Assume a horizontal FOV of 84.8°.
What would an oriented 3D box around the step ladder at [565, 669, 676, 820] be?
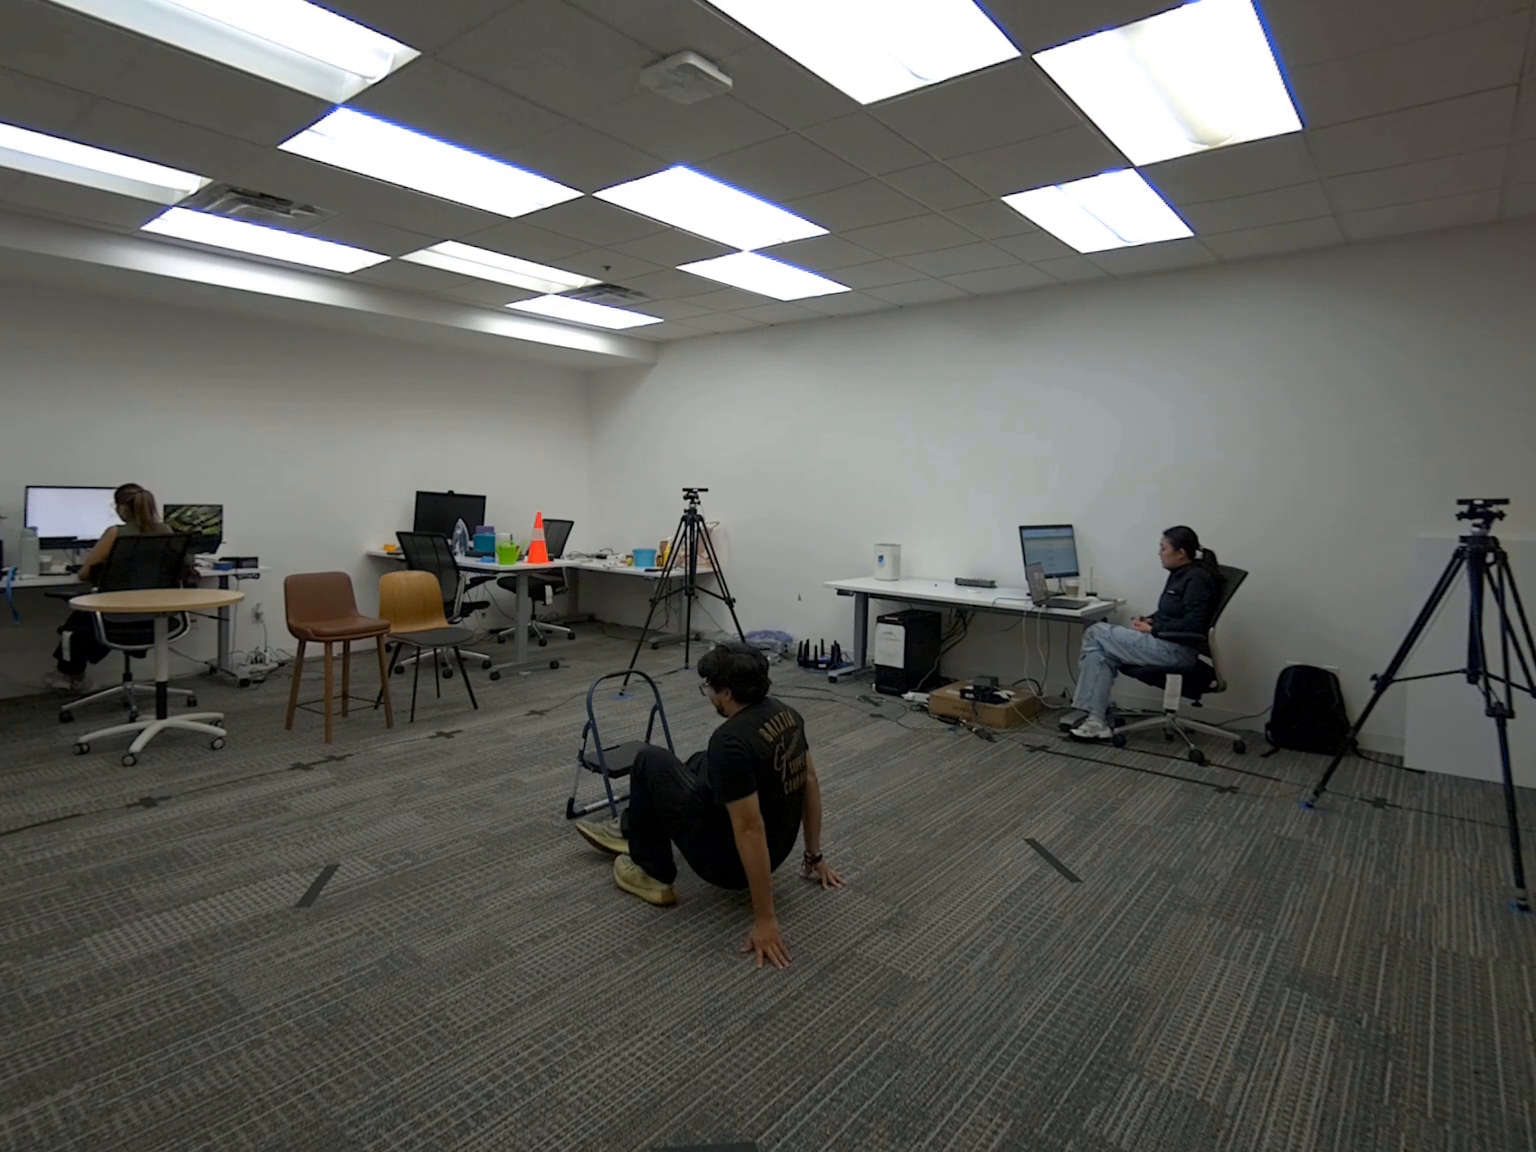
[{"bbox_3d":[-0.596,0.713,3.598,0.361,0.604,0.418,3,4,38],"label":"step ladder"}]
